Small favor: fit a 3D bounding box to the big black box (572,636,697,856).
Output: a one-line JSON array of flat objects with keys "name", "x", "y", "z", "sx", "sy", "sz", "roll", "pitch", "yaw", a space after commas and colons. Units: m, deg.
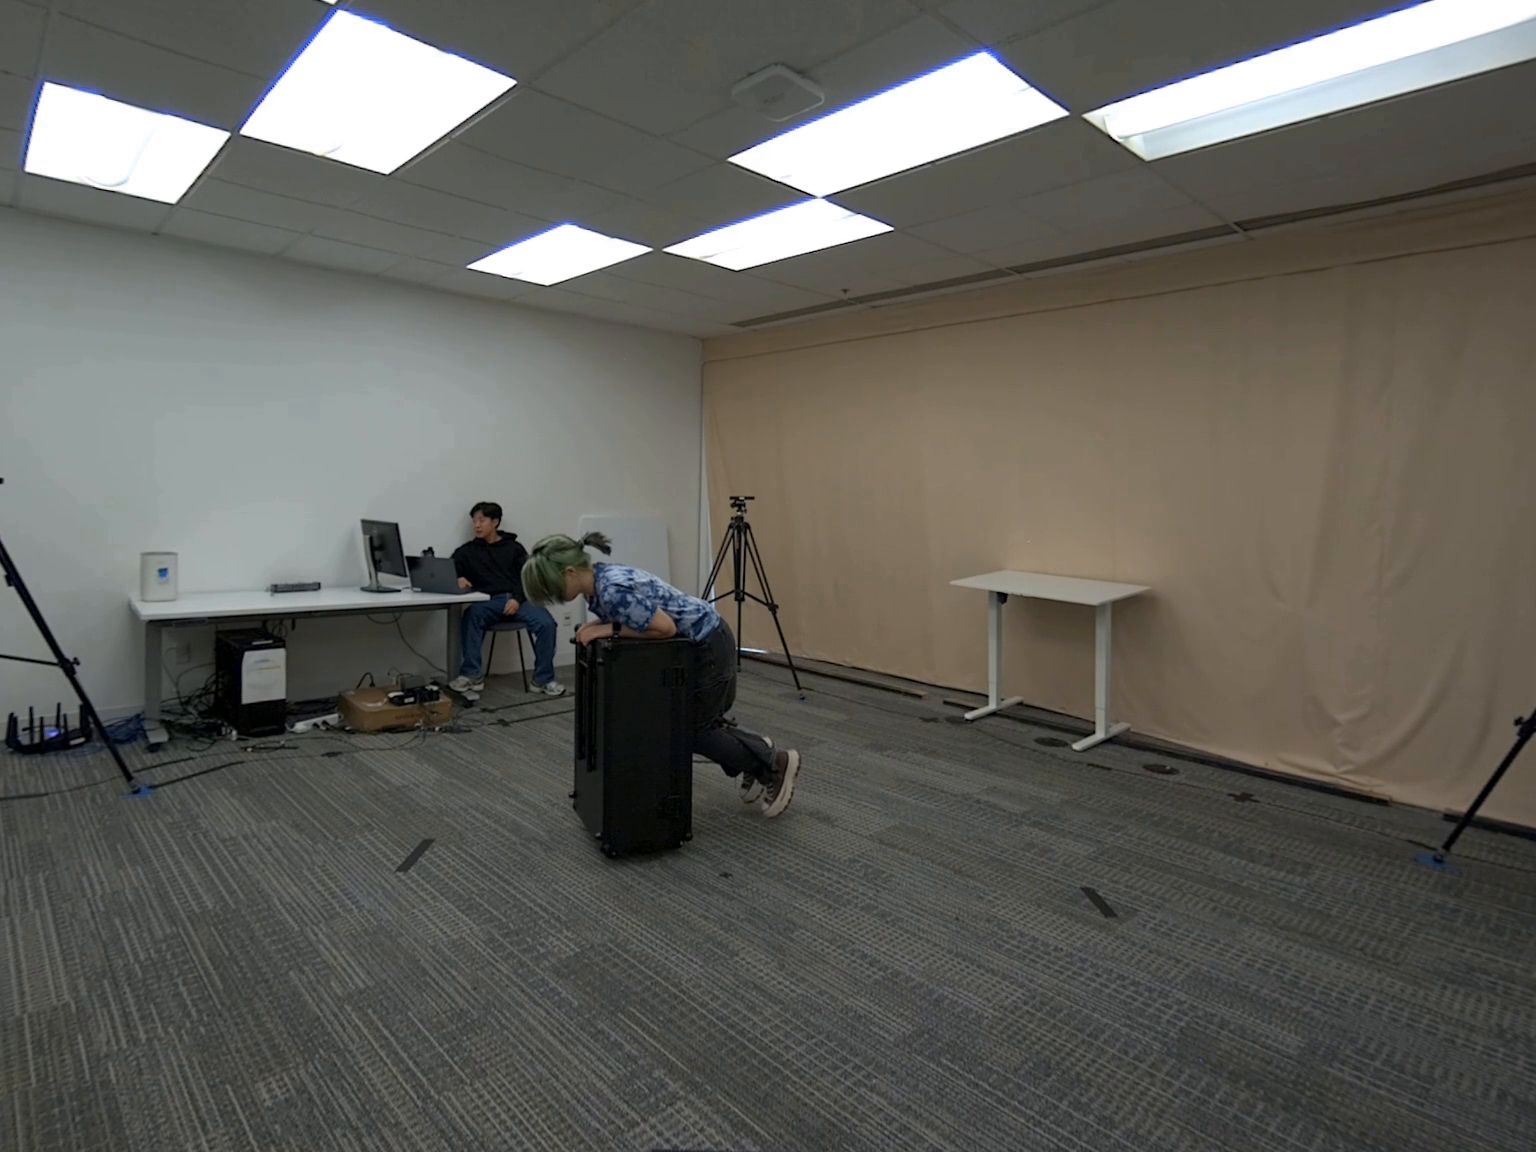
[{"name": "big black box", "x": -0.566, "y": 0.592, "z": 3.362, "sx": 0.389, "sy": 0.859, "sz": 0.532, "roll": 0, "pitch": 4, "yaw": -25}]
